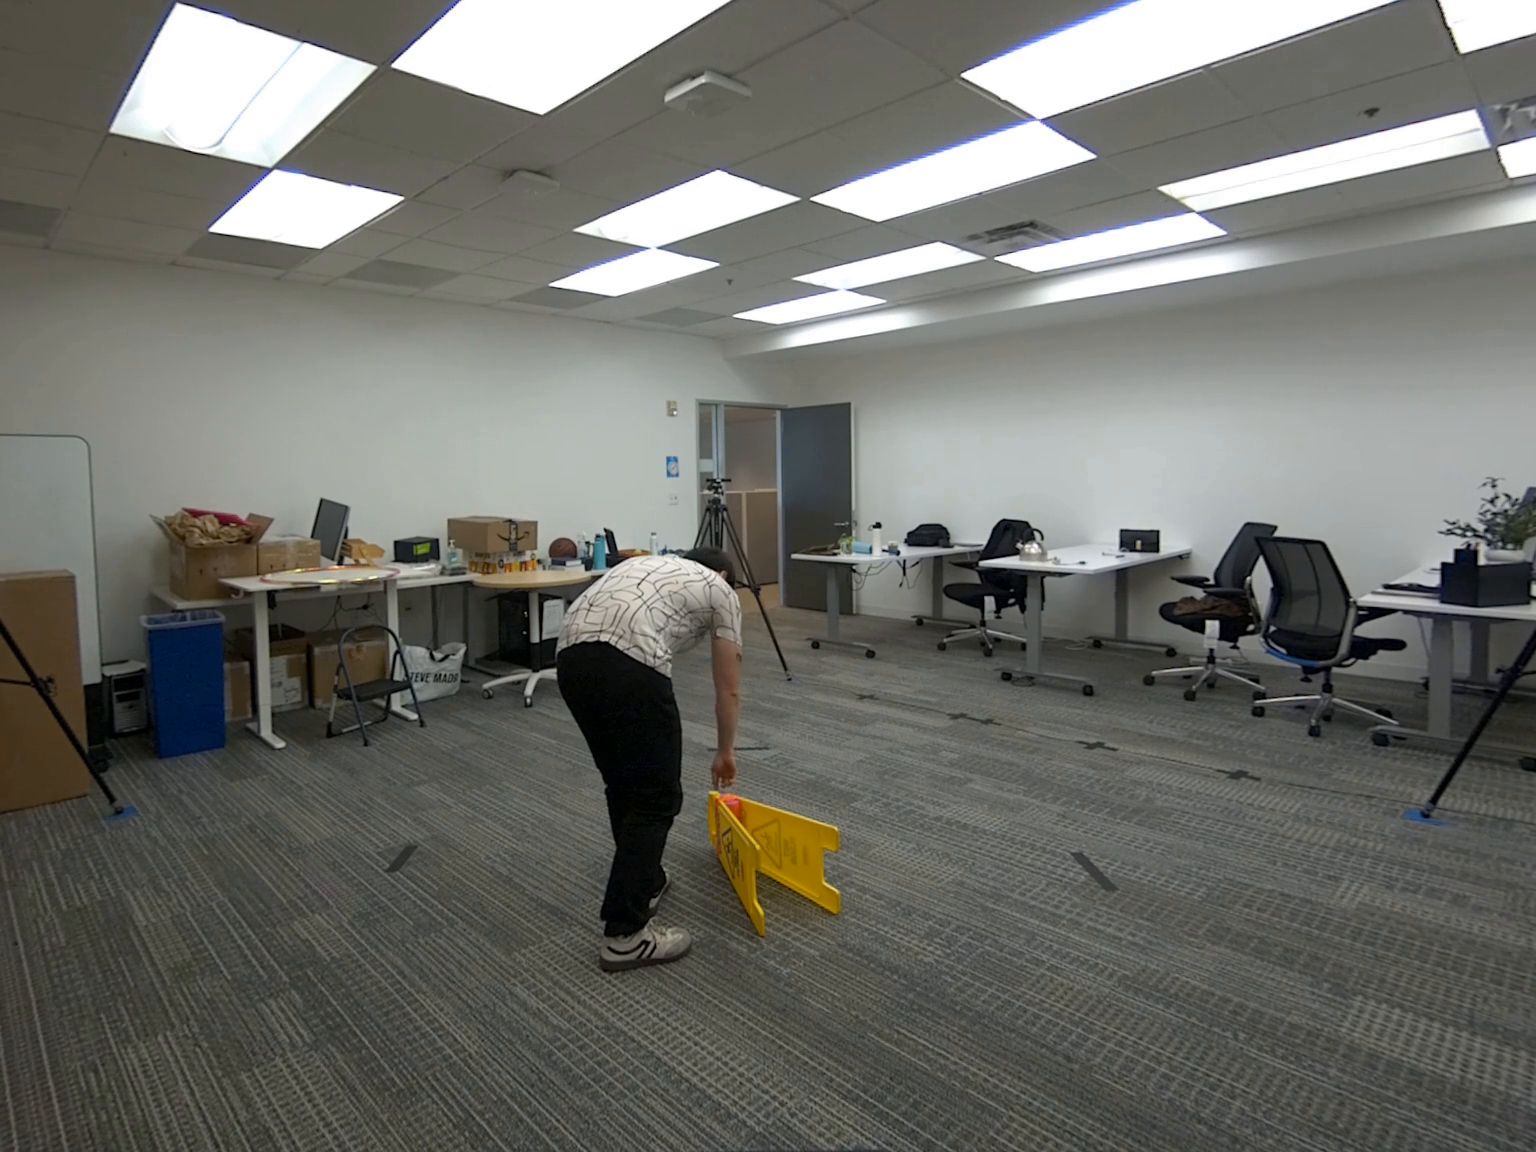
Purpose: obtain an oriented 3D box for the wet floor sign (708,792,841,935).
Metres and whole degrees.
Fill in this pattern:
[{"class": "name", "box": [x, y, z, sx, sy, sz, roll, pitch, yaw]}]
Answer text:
[{"class": "wet floor sign", "box": [-0.057, 0.931, 2.950, 0.283, 0.281, 0.663, -4, 5, -29]}]
